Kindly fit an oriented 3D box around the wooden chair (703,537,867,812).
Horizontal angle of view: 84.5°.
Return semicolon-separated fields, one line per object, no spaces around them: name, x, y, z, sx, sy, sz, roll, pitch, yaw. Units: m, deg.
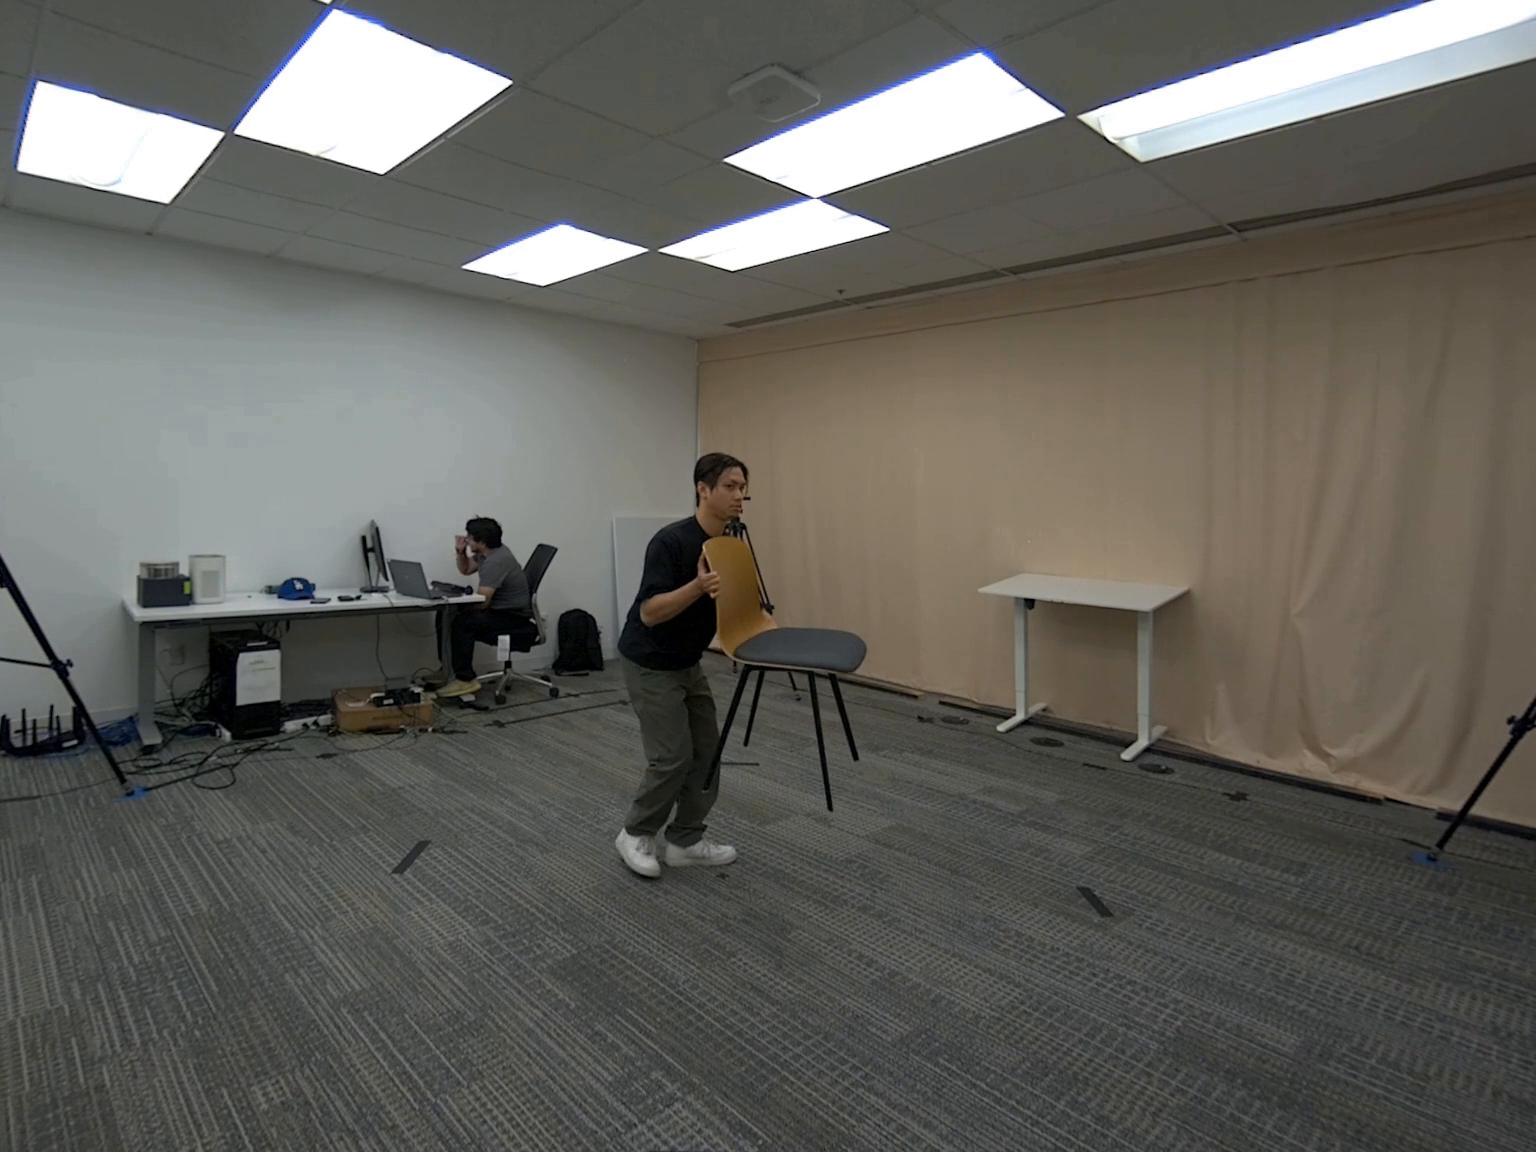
wooden chair;0.063;0.304;2.956;0.531;0.873;0.474;-1;7;19
